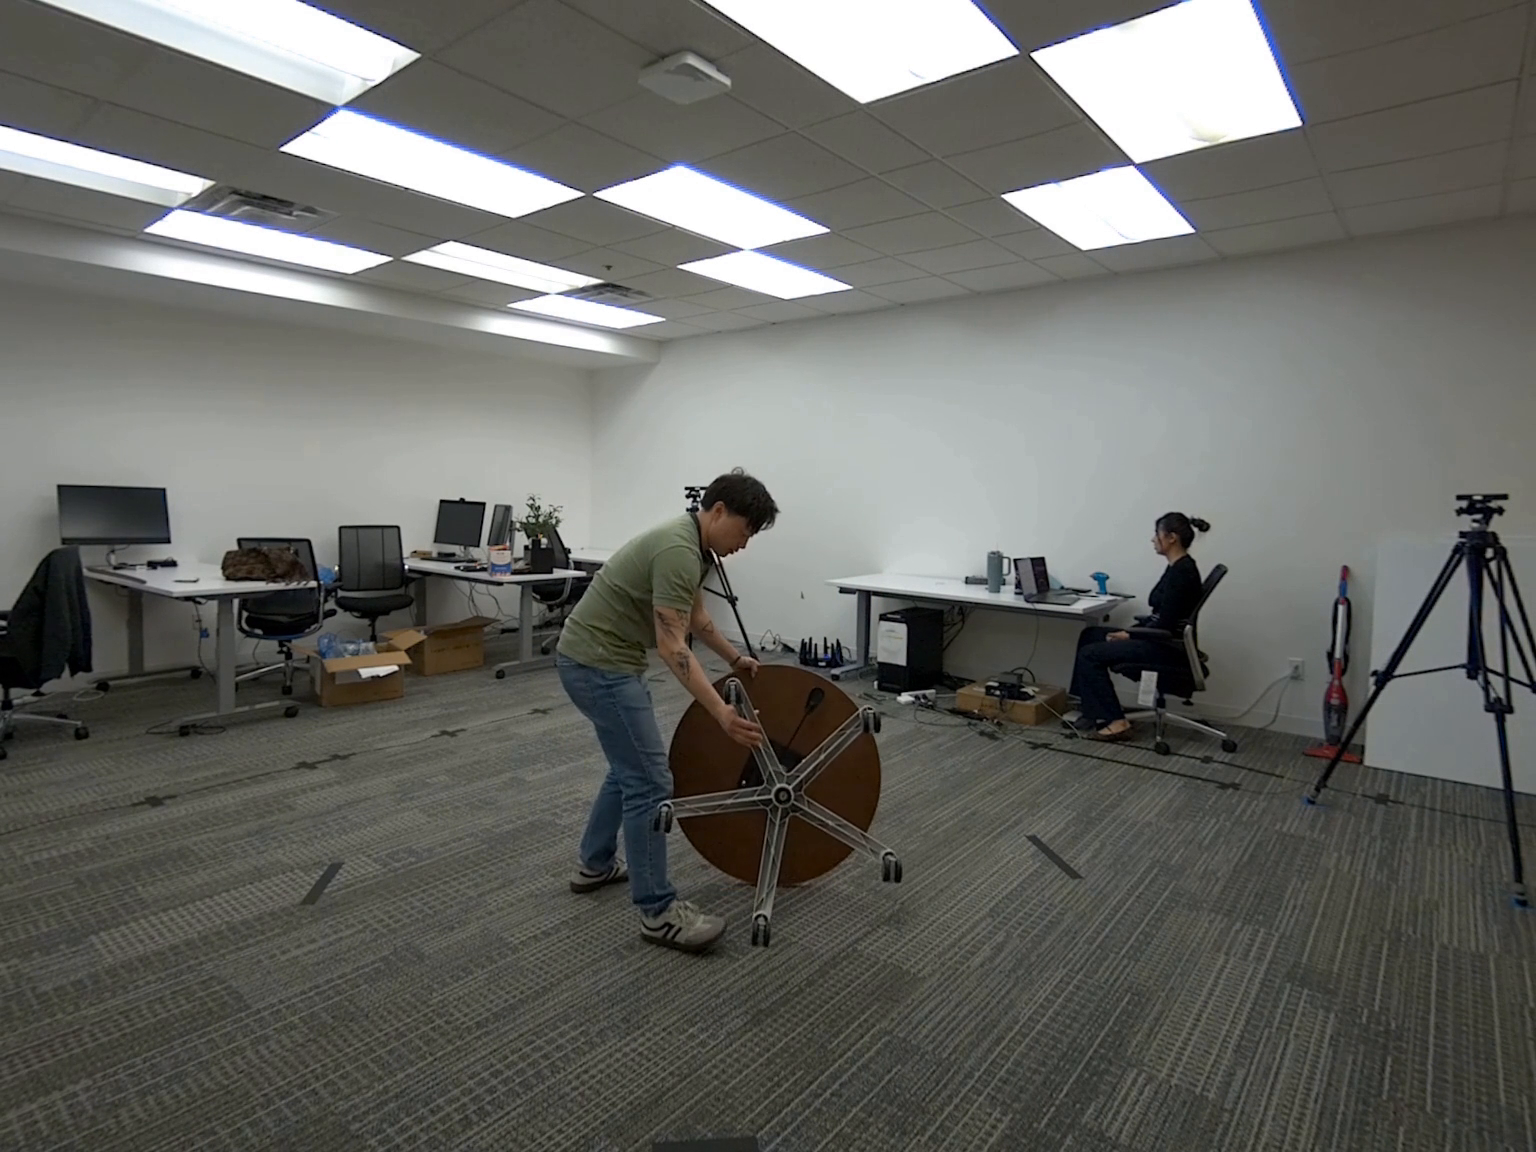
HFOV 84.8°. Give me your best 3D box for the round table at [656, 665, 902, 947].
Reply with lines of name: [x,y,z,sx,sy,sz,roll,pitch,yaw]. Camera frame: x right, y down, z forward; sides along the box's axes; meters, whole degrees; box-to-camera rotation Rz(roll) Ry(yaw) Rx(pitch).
round table: [0.033,0.660,2.660,0.764,0.770,0.787,1,-8,-1]
